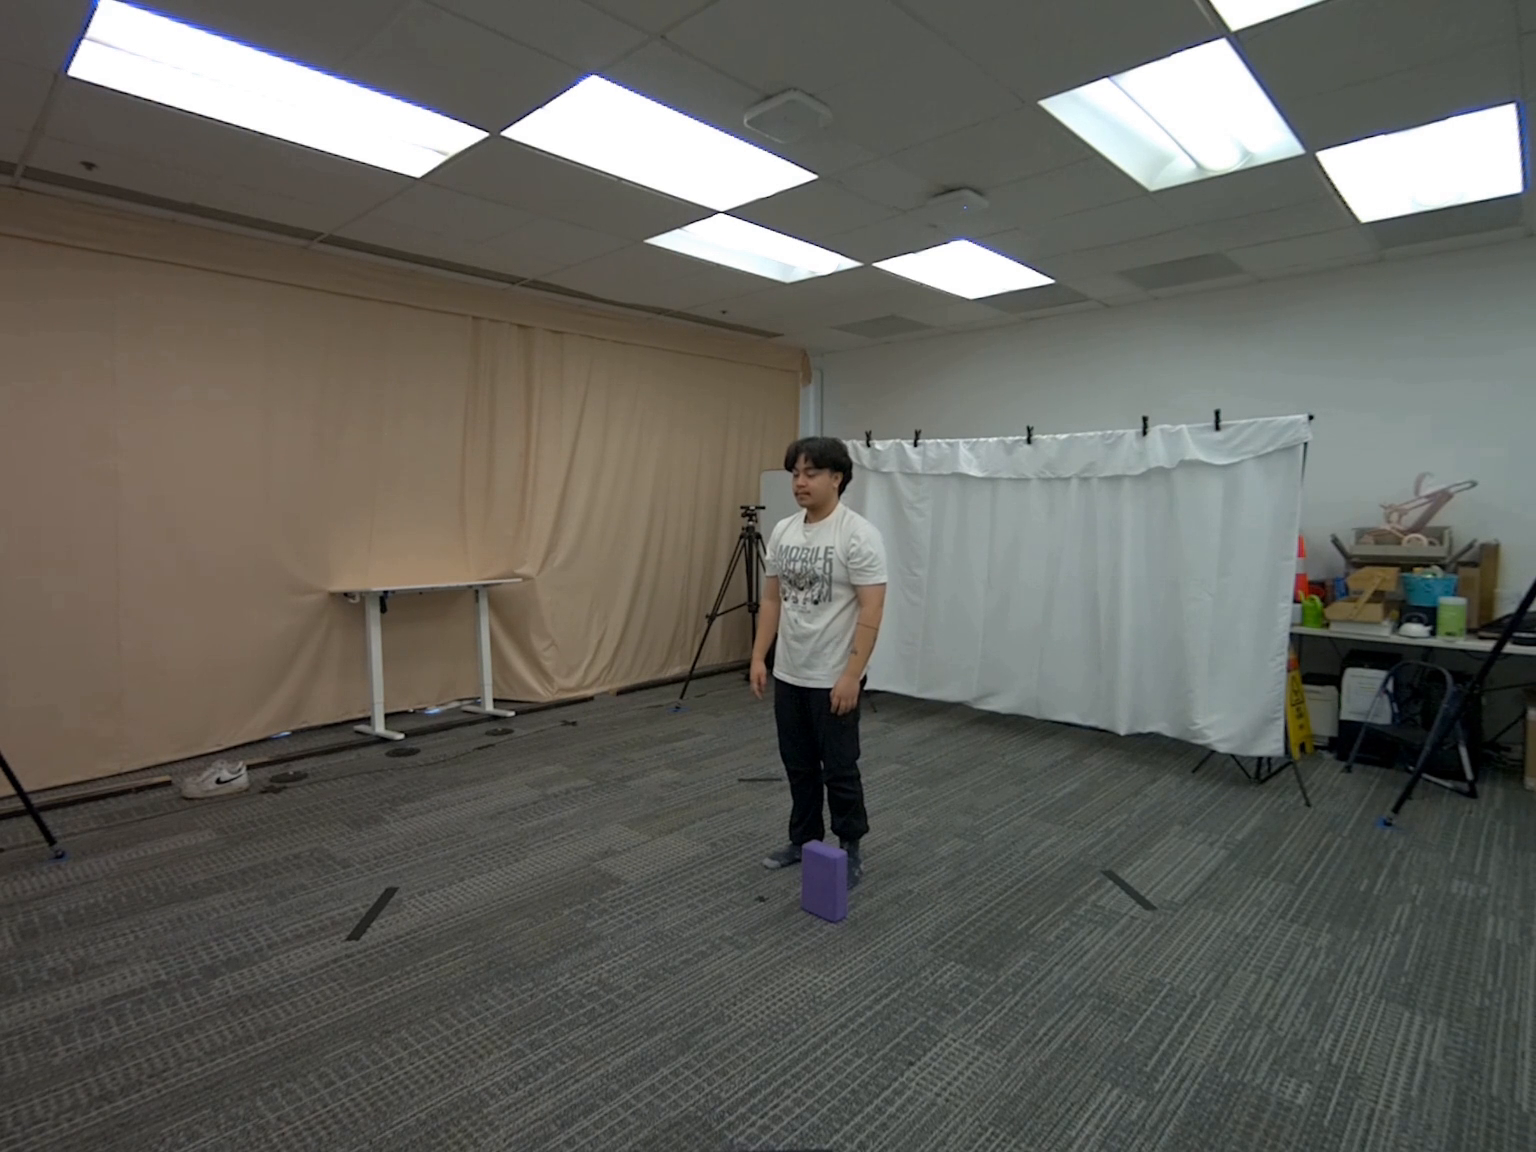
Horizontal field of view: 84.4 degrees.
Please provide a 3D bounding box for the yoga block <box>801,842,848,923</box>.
[{"bbox_3d":[0.194,1.029,2.871,0.154,0.229,0.074,5,6,42],"label":"yoga block"}]
